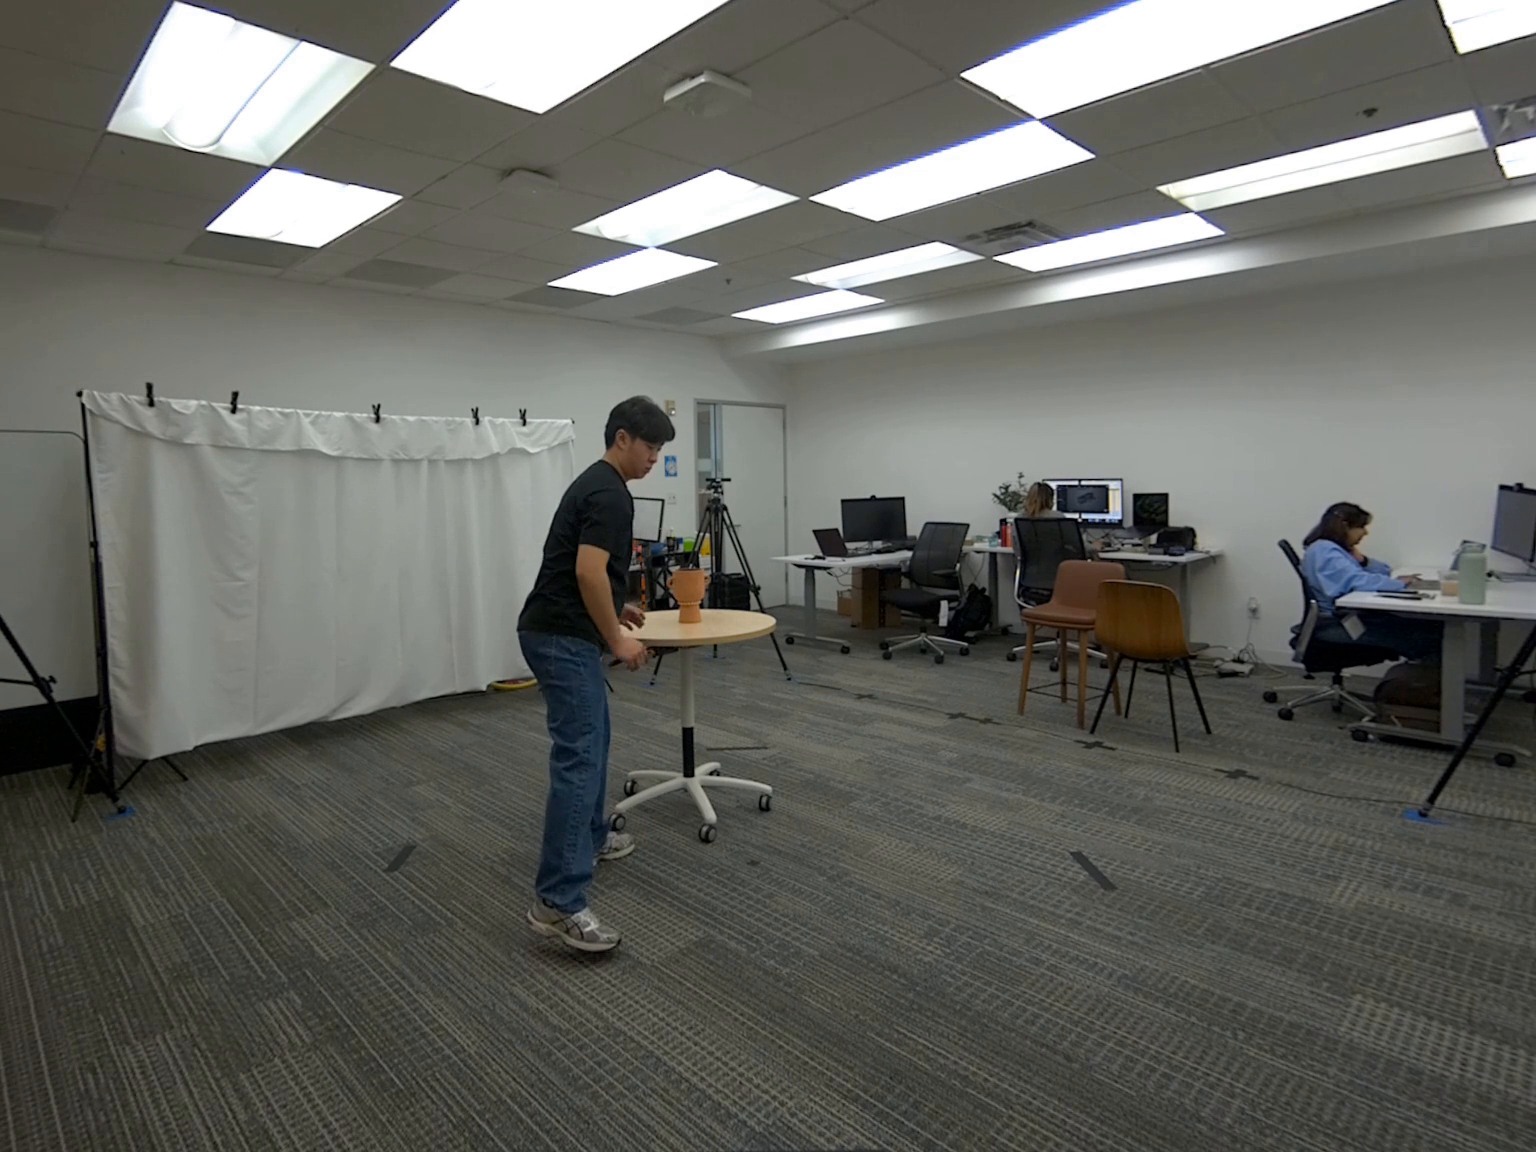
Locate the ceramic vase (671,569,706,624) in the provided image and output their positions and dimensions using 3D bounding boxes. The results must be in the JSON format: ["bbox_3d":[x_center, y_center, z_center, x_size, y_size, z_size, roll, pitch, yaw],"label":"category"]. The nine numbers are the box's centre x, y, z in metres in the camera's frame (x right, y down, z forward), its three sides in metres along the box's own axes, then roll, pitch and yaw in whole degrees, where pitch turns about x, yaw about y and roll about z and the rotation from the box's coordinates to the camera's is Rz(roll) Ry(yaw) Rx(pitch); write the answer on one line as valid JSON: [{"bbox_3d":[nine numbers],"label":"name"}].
[{"bbox_3d":[-0.335,0.086,3.616,0.161,0.219,0.133,-2,4,13],"label":"ceramic vase"}]
